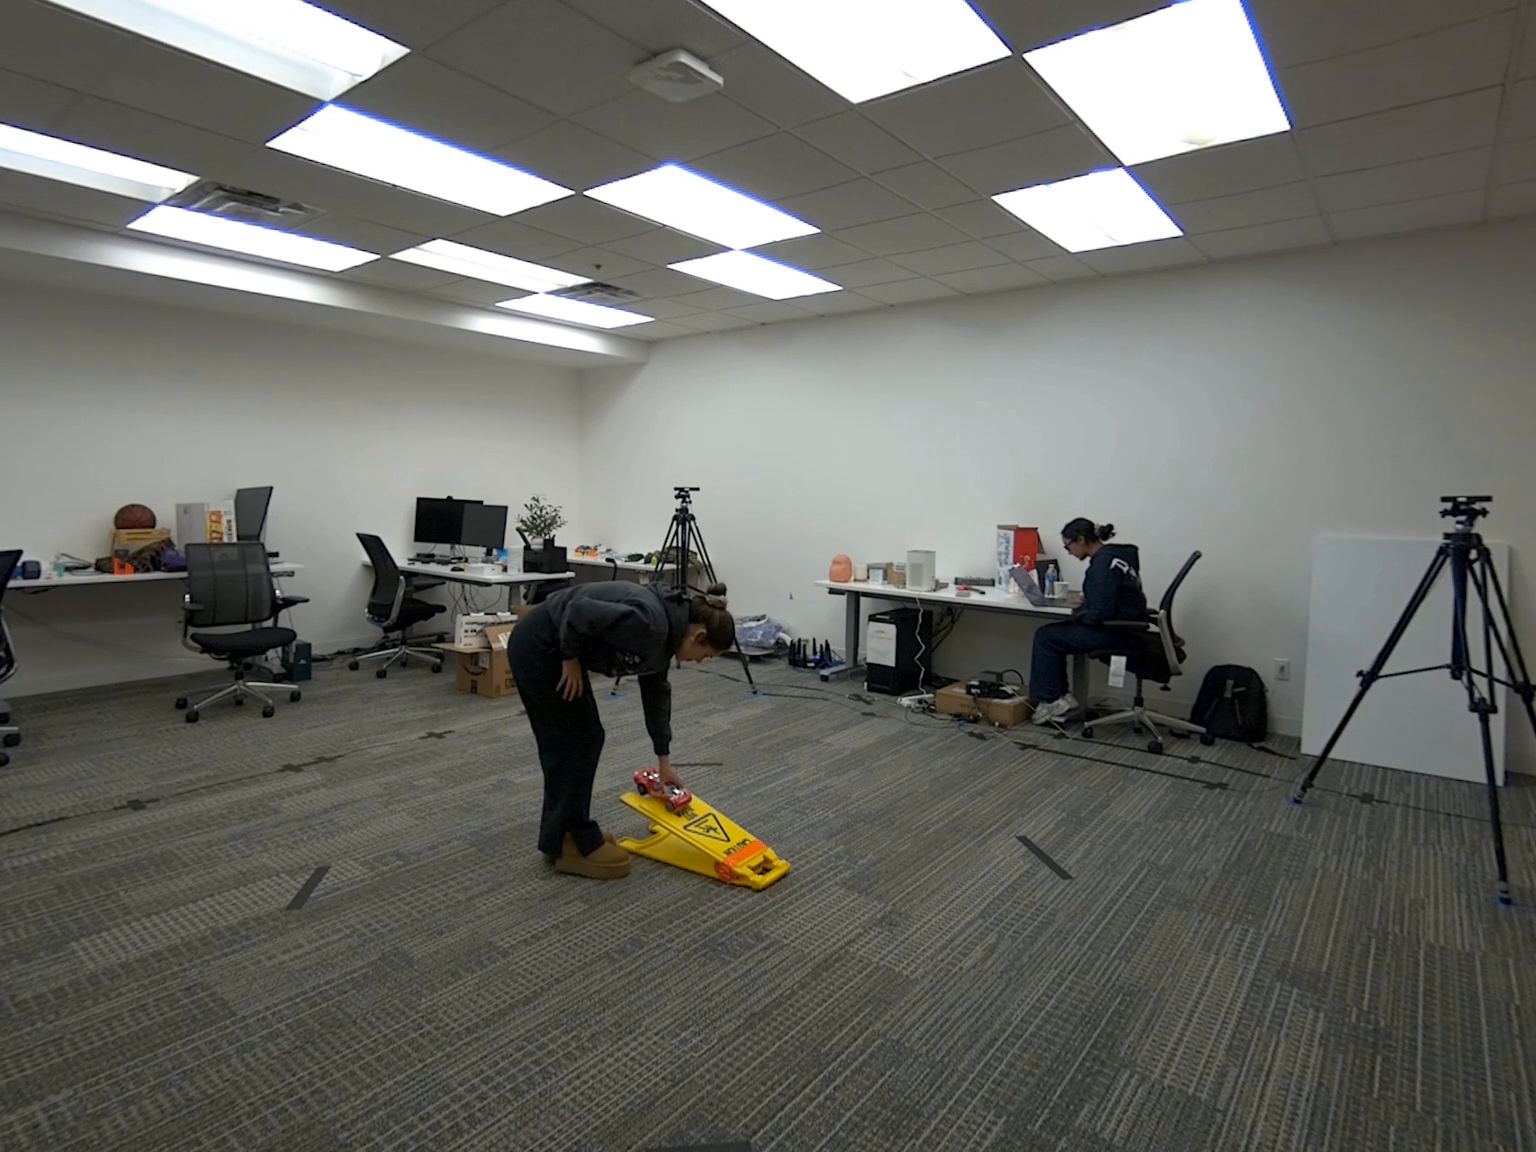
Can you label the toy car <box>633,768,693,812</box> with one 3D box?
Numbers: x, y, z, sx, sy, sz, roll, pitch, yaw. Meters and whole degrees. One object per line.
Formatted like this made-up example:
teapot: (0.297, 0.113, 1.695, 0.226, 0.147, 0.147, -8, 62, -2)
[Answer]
toy car: (-0.421, 0.834, 3.306, 0.264, 0.082, 0.127, 33, 24, 30)
